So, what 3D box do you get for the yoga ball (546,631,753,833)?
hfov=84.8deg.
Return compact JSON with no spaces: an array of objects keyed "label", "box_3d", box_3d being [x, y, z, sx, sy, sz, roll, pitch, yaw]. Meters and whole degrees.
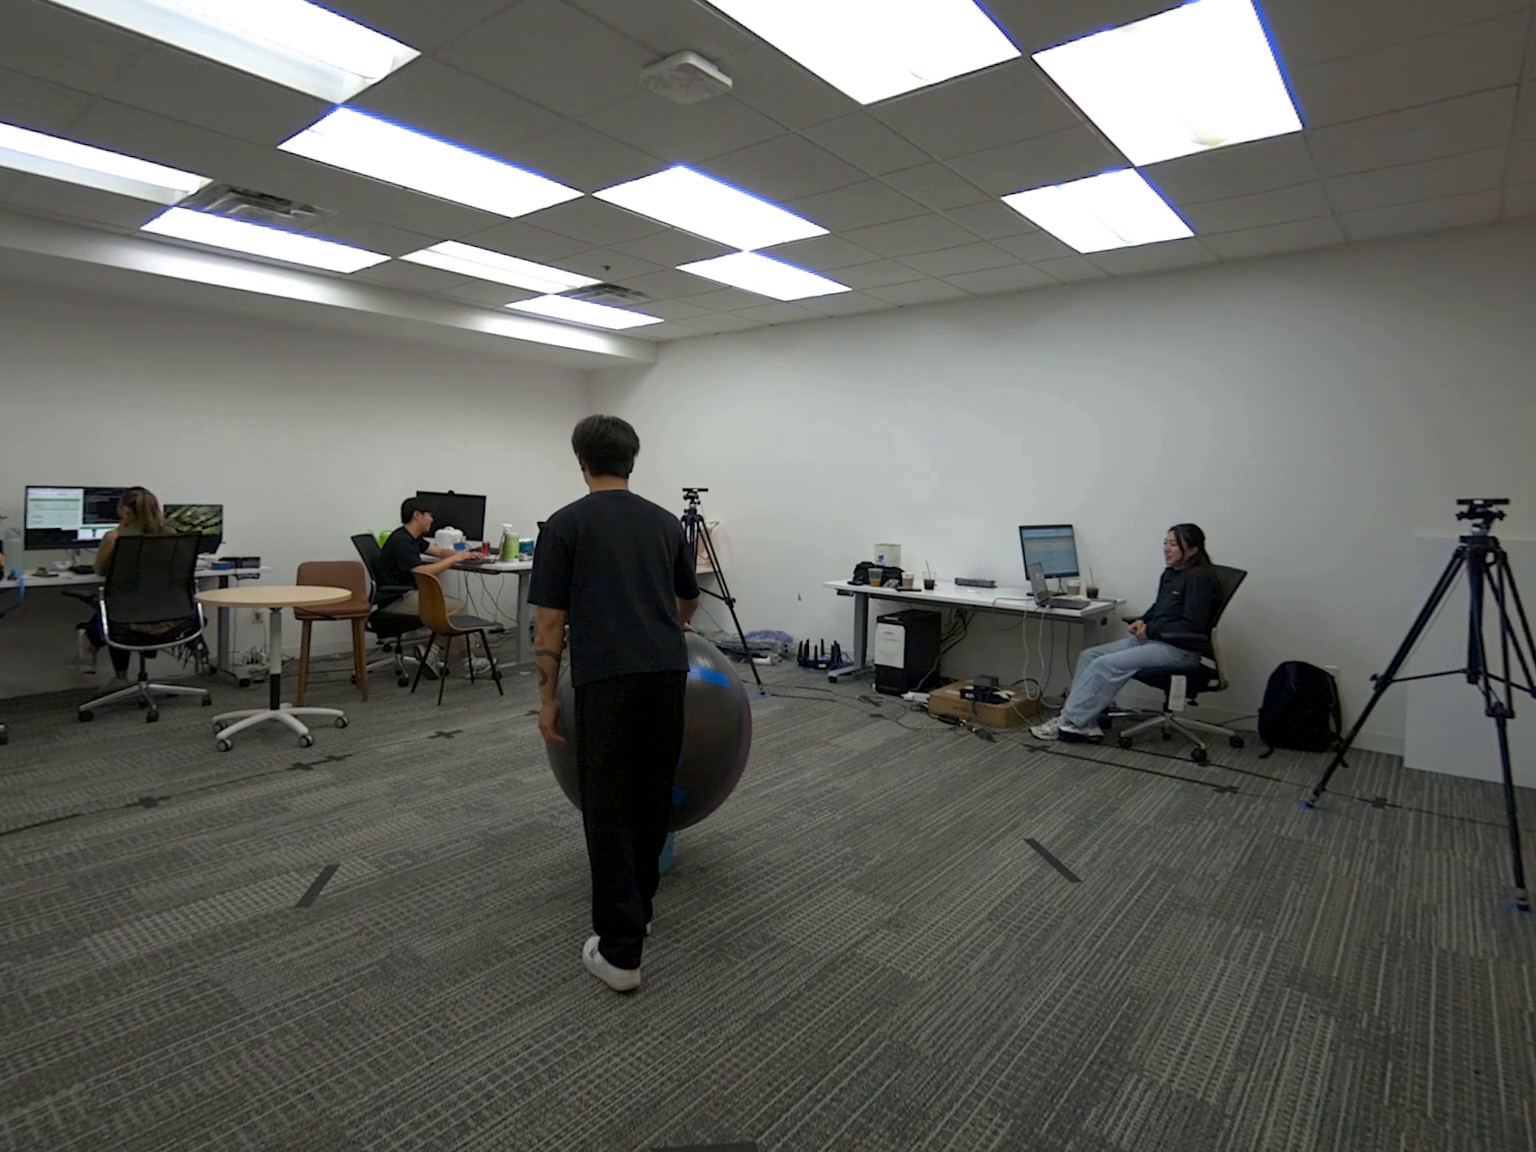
[{"label":"yoga ball","box_3d":[-0.446,0.552,3.136,0.757,0.756,0.762,1,4,-2]}]
